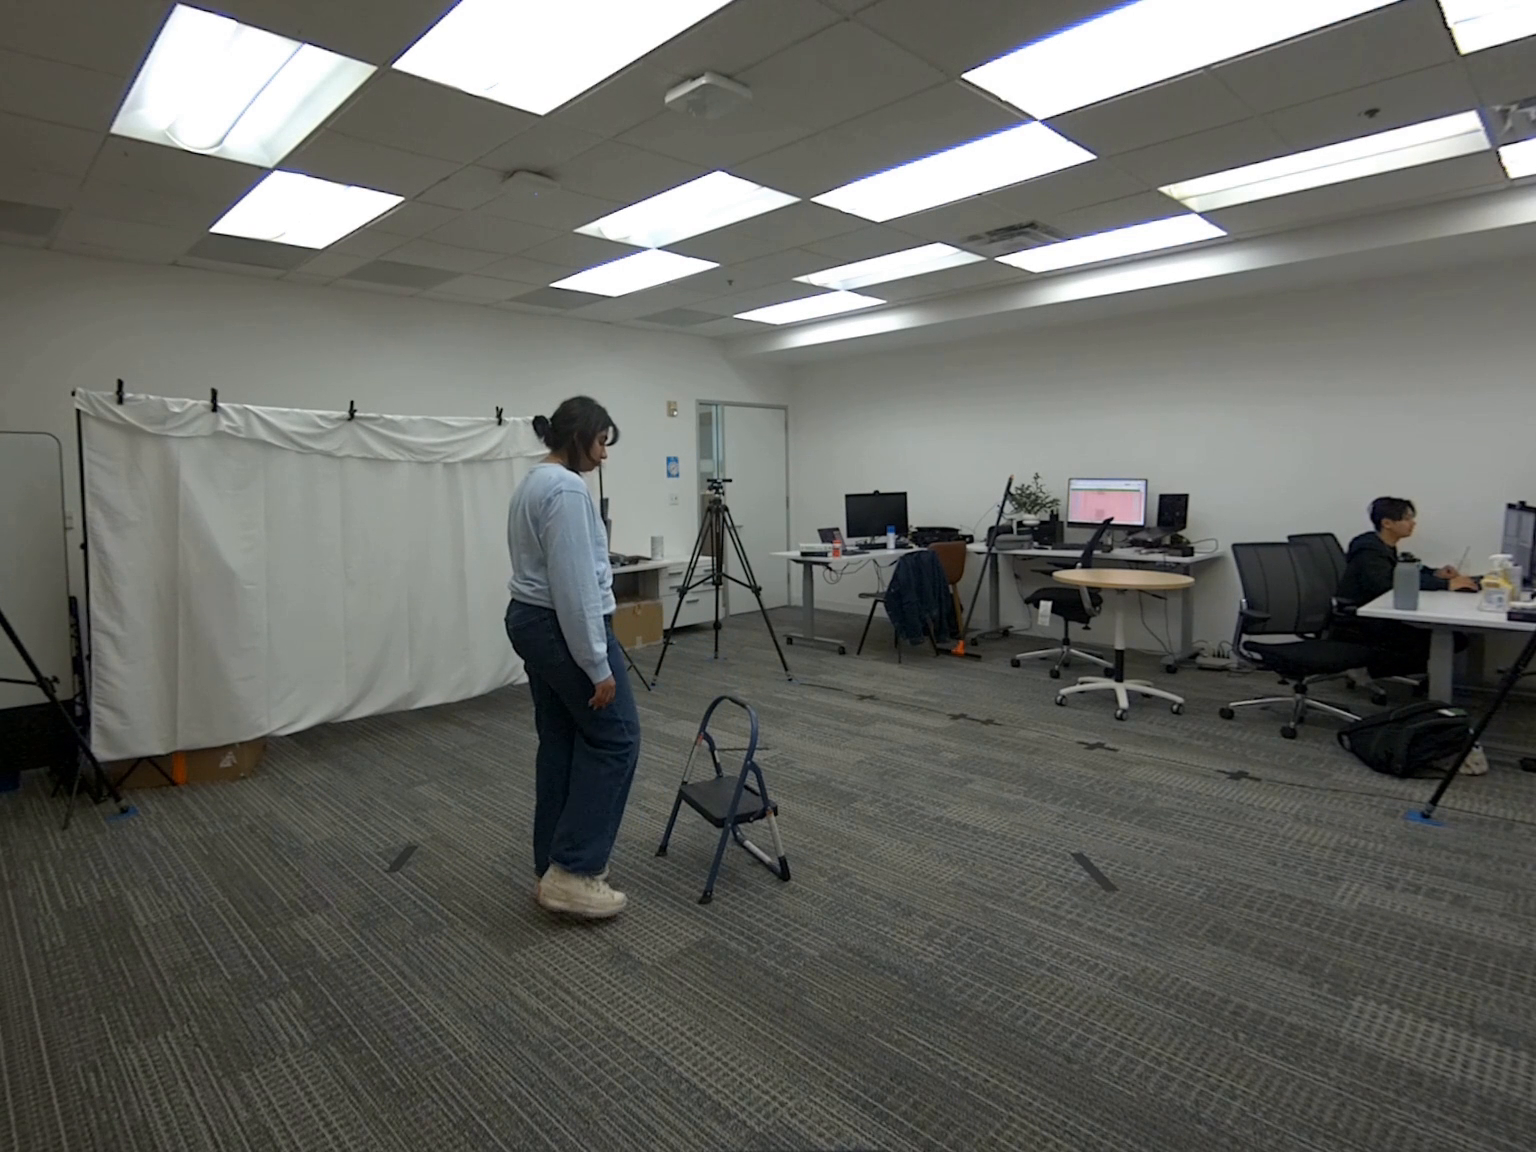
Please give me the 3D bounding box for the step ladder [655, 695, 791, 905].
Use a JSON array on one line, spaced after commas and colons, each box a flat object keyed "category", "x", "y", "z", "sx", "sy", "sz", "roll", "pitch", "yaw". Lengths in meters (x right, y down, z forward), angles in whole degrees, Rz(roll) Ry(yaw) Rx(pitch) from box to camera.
[{"category": "step ladder", "x": -0.168, "y": 0.751, "z": 3.061, "sx": 0.341, "sy": 0.604, "sz": 0.442, "roll": -3, "pitch": 5, "yaw": -28}]
